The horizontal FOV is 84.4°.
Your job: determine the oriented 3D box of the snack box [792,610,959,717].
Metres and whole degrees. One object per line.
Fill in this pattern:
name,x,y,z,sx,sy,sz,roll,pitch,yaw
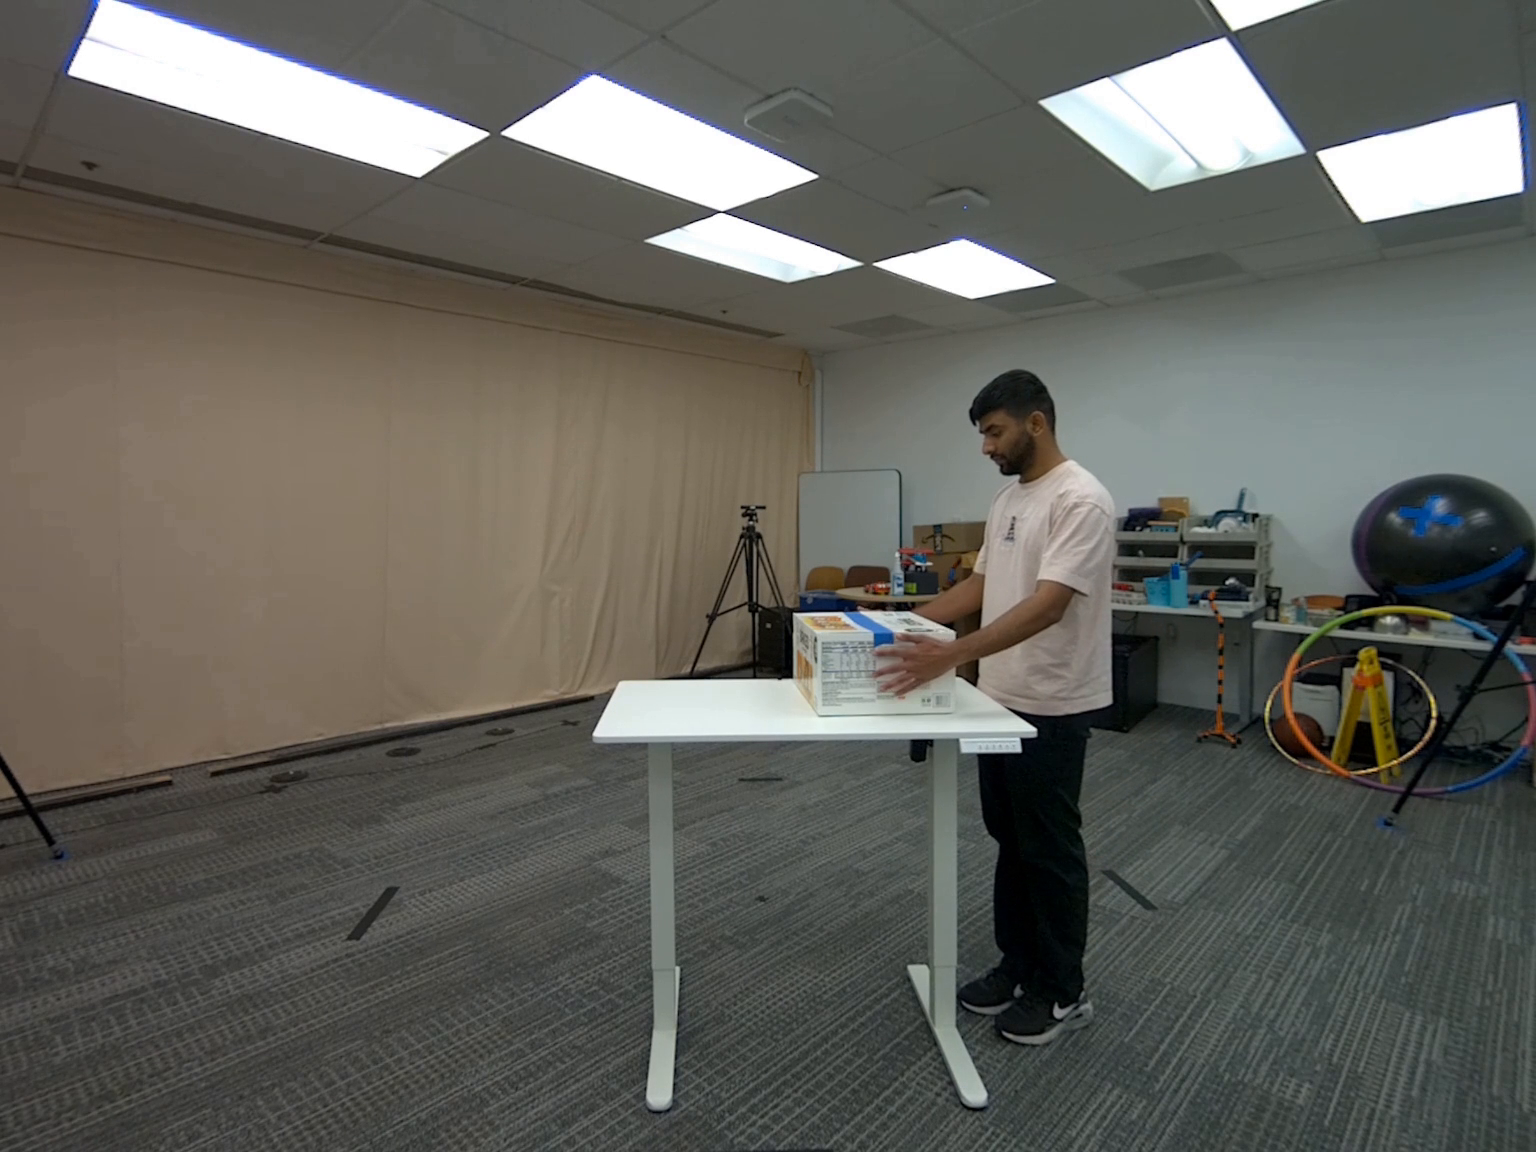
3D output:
snack box,0.270,0.223,2.233,0.339,0.205,0.408,-1,4,-6
